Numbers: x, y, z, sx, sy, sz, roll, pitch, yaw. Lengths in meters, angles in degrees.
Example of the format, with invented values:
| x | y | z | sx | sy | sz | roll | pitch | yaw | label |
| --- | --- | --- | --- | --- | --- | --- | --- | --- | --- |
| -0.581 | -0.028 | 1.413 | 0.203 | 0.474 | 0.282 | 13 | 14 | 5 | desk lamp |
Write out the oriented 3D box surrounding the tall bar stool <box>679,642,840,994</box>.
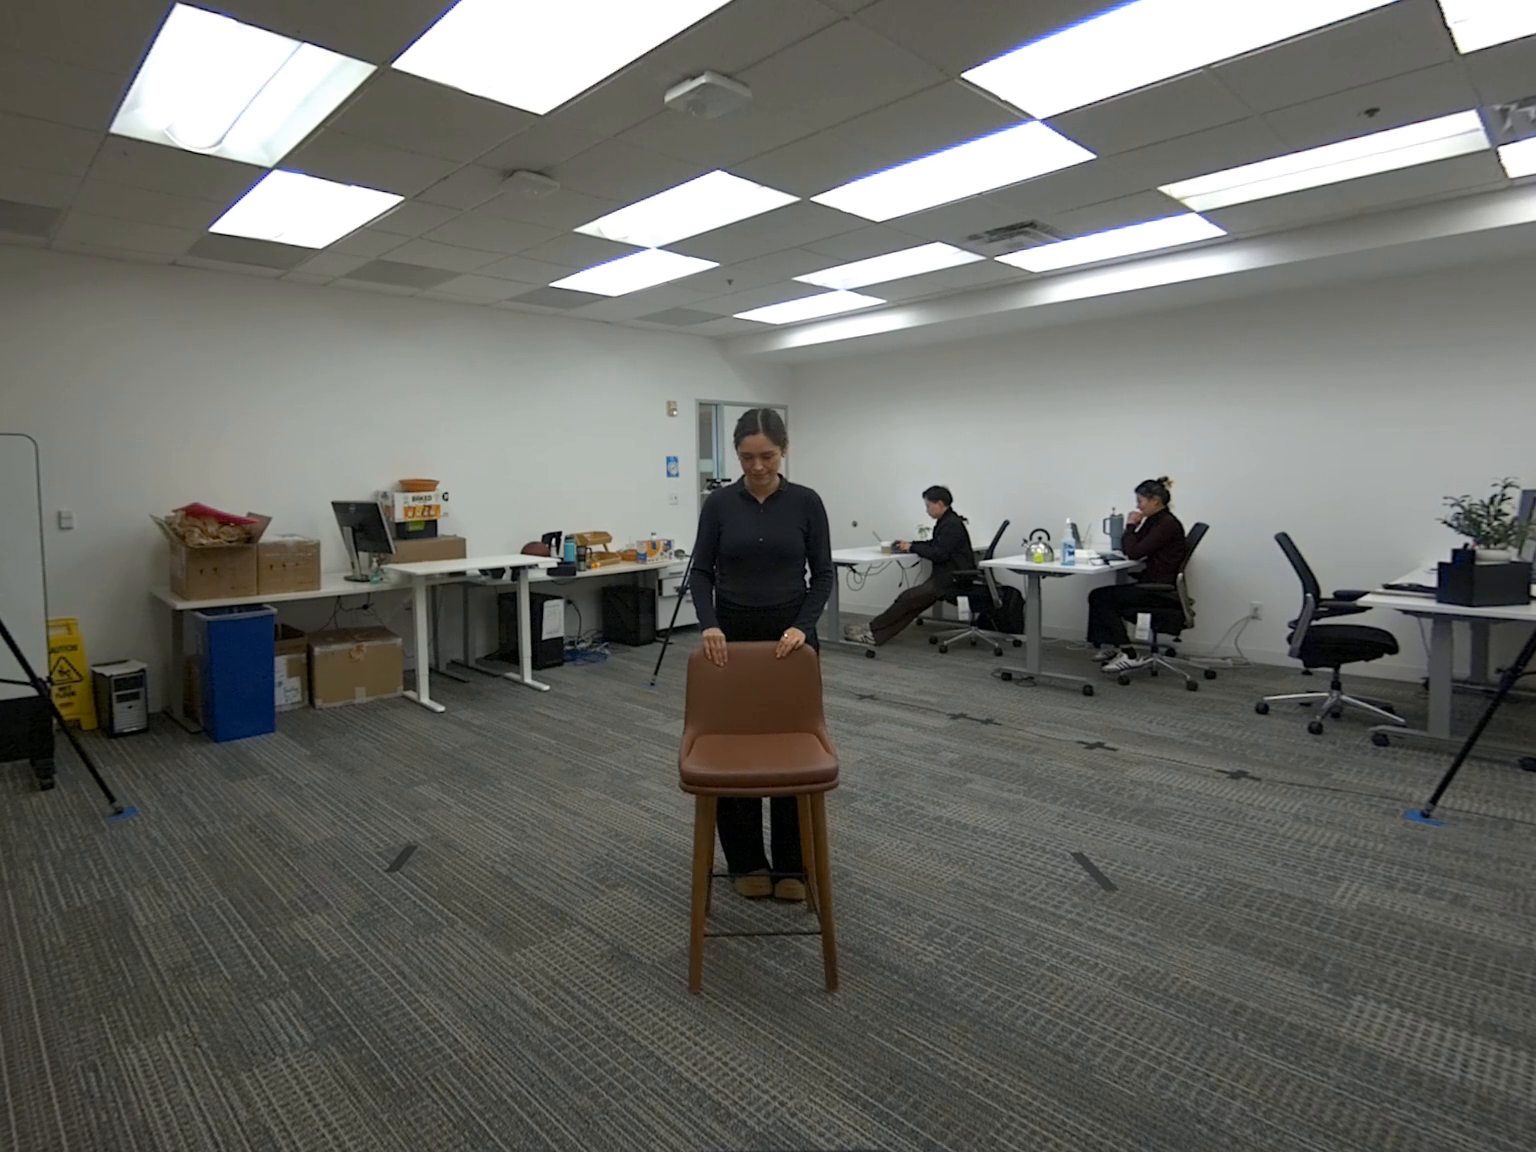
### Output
| x | y | z | sx | sy | sz | roll | pitch | yaw | label |
| --- | --- | --- | --- | --- | --- | --- | --- | --- | --- |
| -0.030 | 0.676 | 2.529 | 0.456 | 0.888 | 0.468 | -2 | 2 | -1 | tall bar stool |
